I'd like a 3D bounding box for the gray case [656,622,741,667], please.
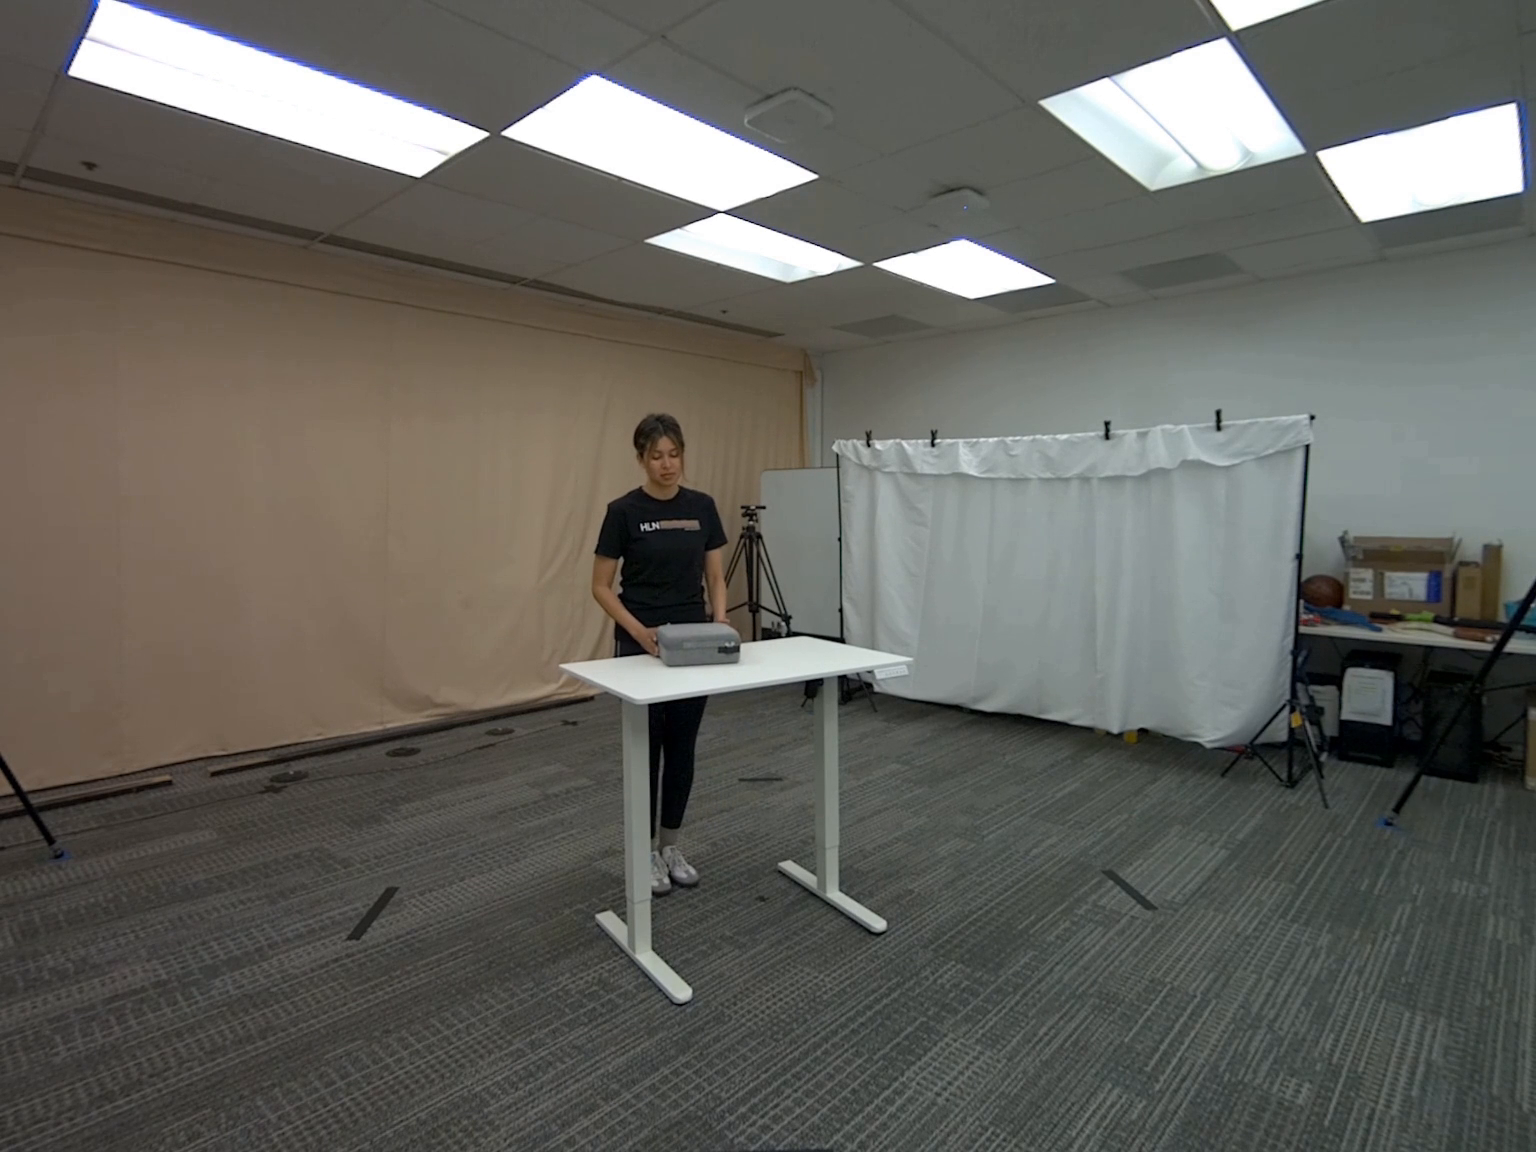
[{"bbox_3d":[-0.239,0.221,2.802,0.254,0.104,0.264,-2,6,-10],"label":"gray case"}]
